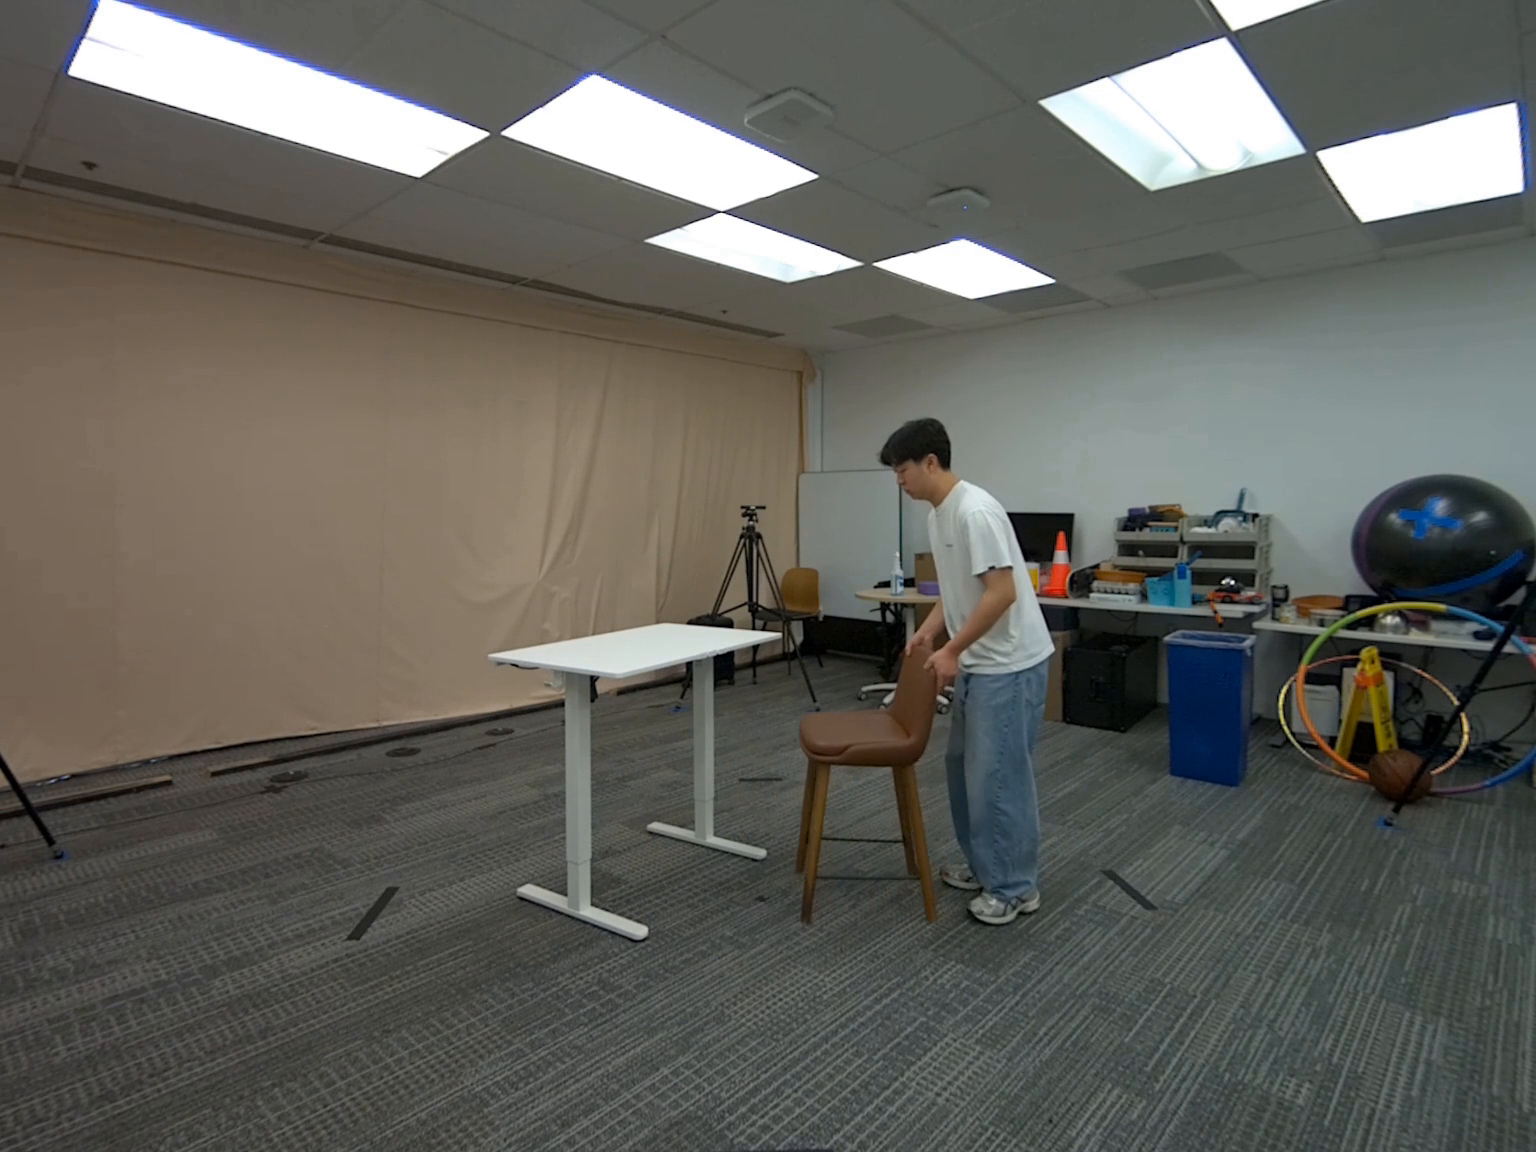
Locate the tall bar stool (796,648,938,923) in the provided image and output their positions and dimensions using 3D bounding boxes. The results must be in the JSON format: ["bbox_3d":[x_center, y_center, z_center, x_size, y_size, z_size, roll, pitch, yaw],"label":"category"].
[{"bbox_3d":[0.343,0.708,2.972,0.469,0.888,0.456,2,3,1],"label":"tall bar stool"}]
